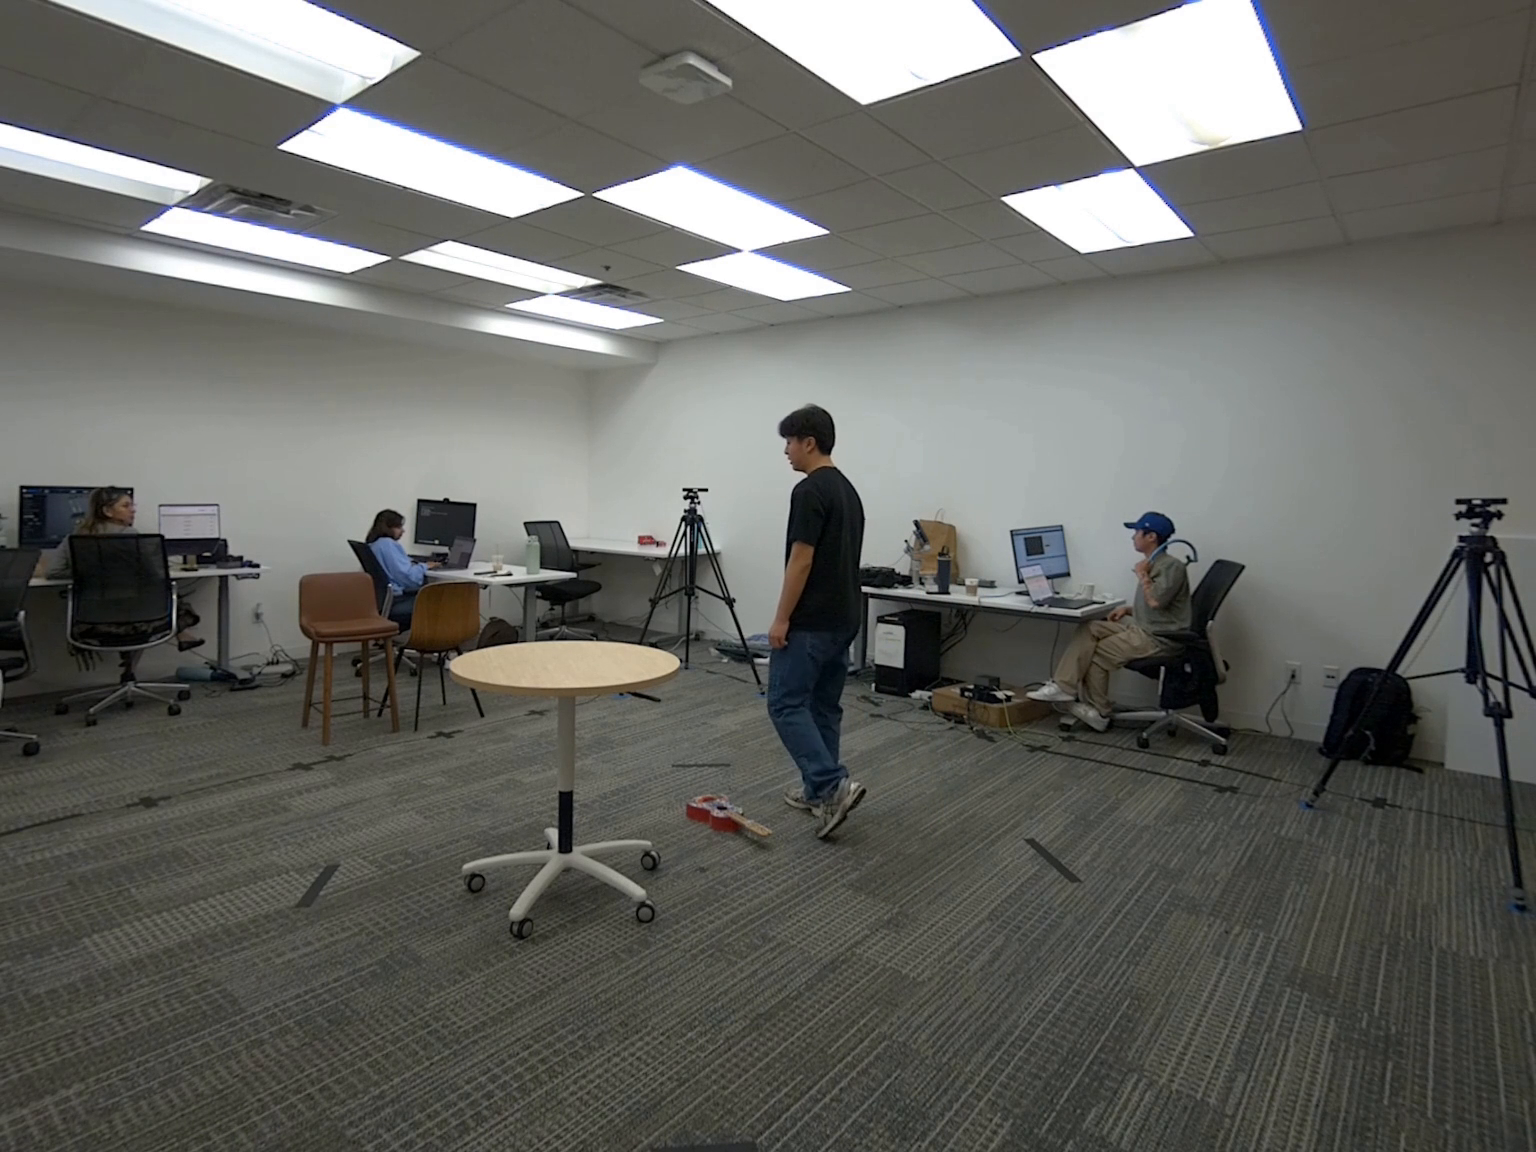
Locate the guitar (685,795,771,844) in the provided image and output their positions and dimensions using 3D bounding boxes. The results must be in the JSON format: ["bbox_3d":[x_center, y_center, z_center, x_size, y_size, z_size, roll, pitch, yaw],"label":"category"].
[{"bbox_3d":[-0.184,1.002,3.484,0.188,0.070,0.512,-1,6,-27],"label":"guitar"}]
